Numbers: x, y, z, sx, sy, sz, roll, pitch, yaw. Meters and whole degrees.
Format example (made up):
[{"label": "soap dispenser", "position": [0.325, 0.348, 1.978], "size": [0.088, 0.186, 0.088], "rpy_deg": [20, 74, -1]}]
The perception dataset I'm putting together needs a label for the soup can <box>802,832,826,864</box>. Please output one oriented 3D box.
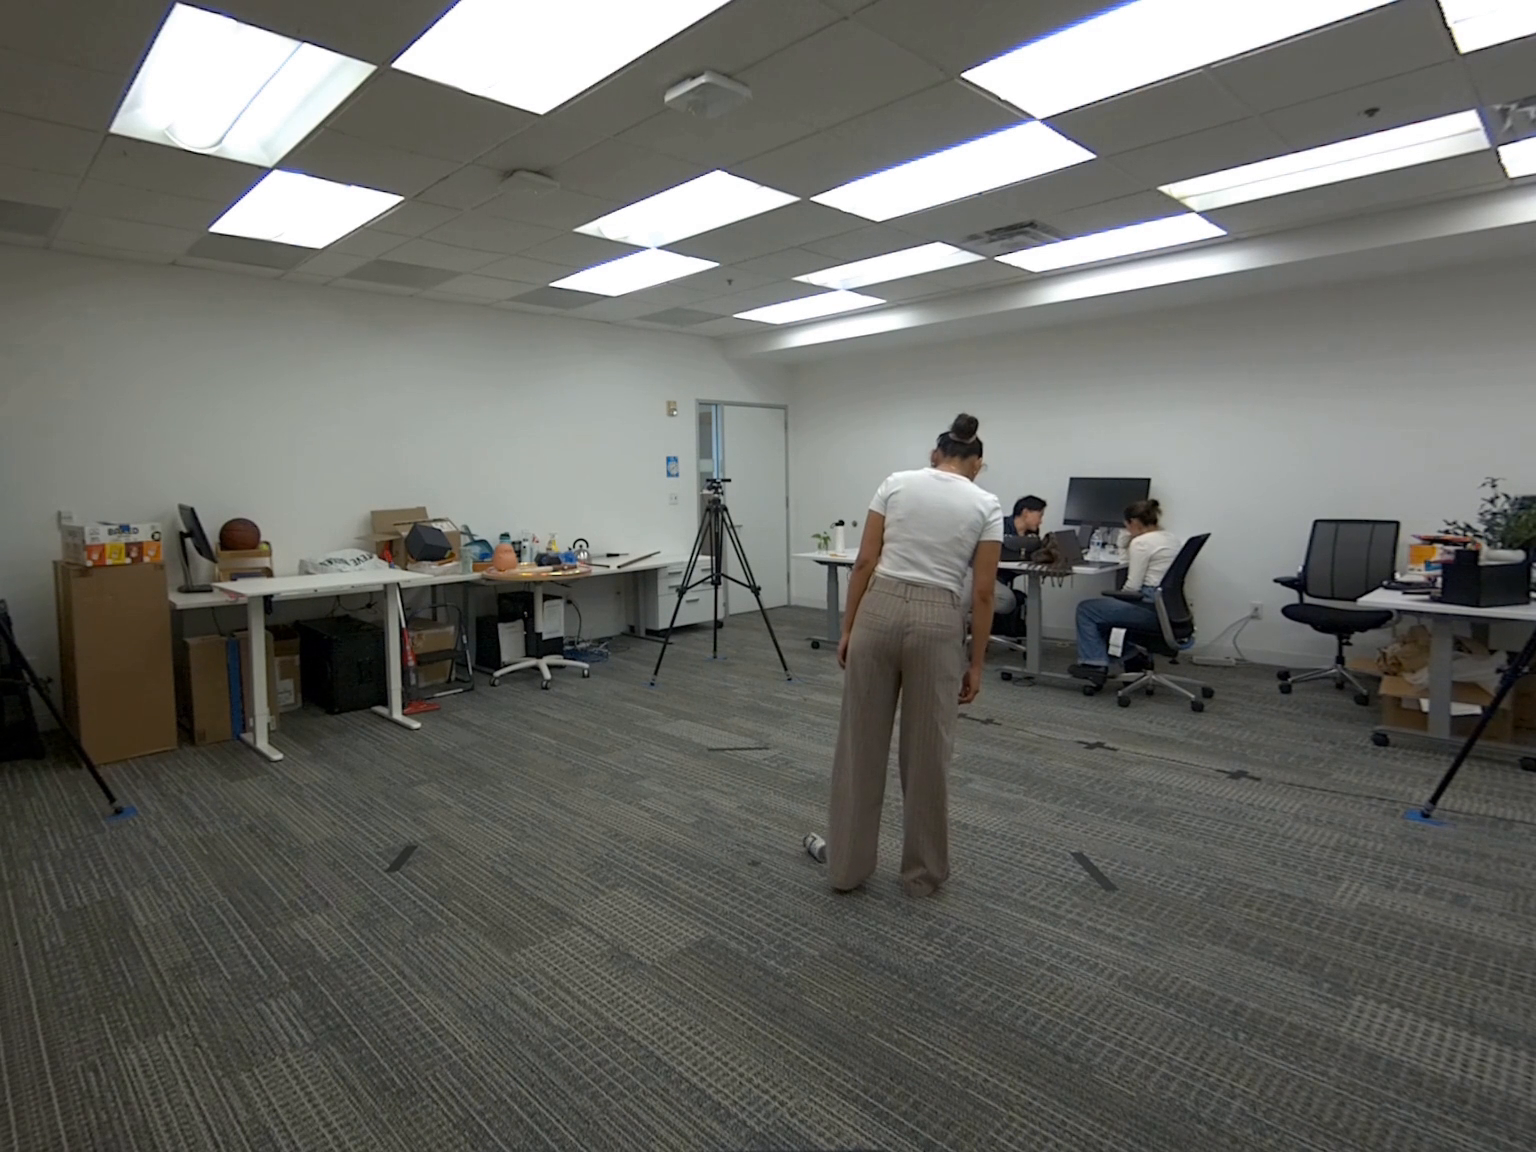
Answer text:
[{"label": "soup can", "position": [0.198, 0.994, 3.155], "size": [0.066, 0.067, 0.123], "rpy_deg": [-2, 5, -11]}]
